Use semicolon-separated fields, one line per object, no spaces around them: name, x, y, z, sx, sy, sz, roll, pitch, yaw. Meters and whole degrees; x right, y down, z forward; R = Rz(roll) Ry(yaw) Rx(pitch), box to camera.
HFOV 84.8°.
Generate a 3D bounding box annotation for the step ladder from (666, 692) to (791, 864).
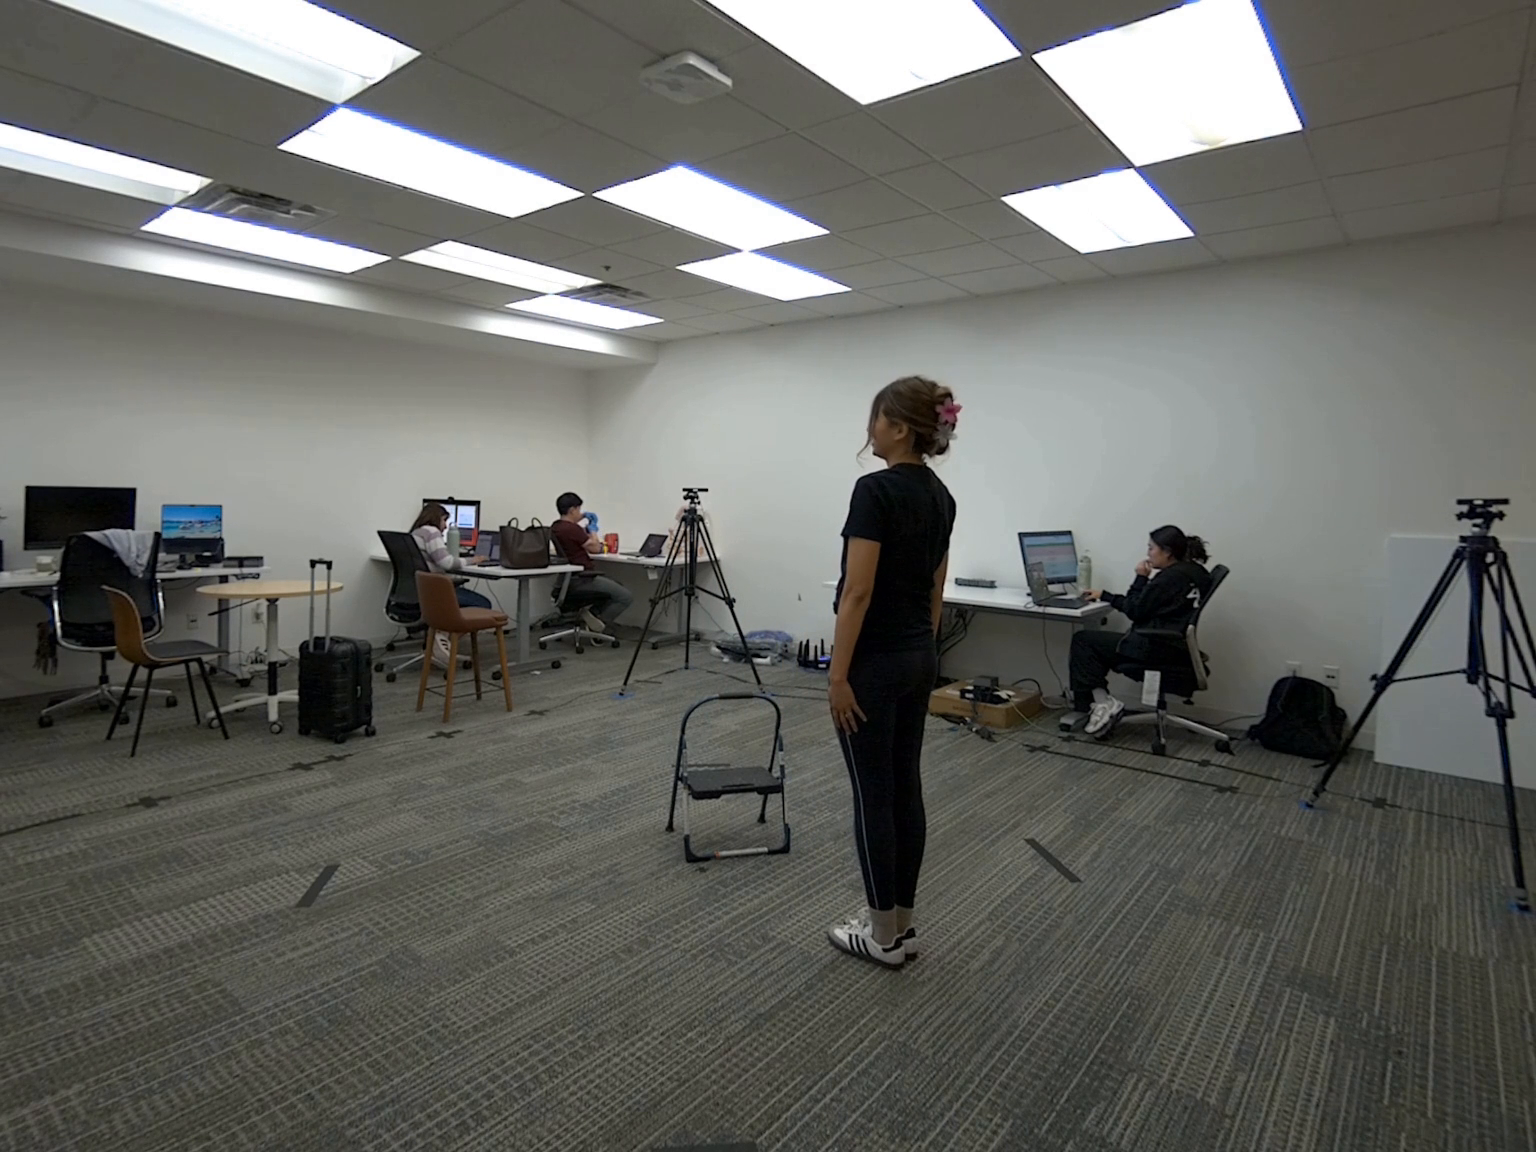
step ladder;-0.168;0.748;3.366;0.423;0.605;0.356;0;2;-18
